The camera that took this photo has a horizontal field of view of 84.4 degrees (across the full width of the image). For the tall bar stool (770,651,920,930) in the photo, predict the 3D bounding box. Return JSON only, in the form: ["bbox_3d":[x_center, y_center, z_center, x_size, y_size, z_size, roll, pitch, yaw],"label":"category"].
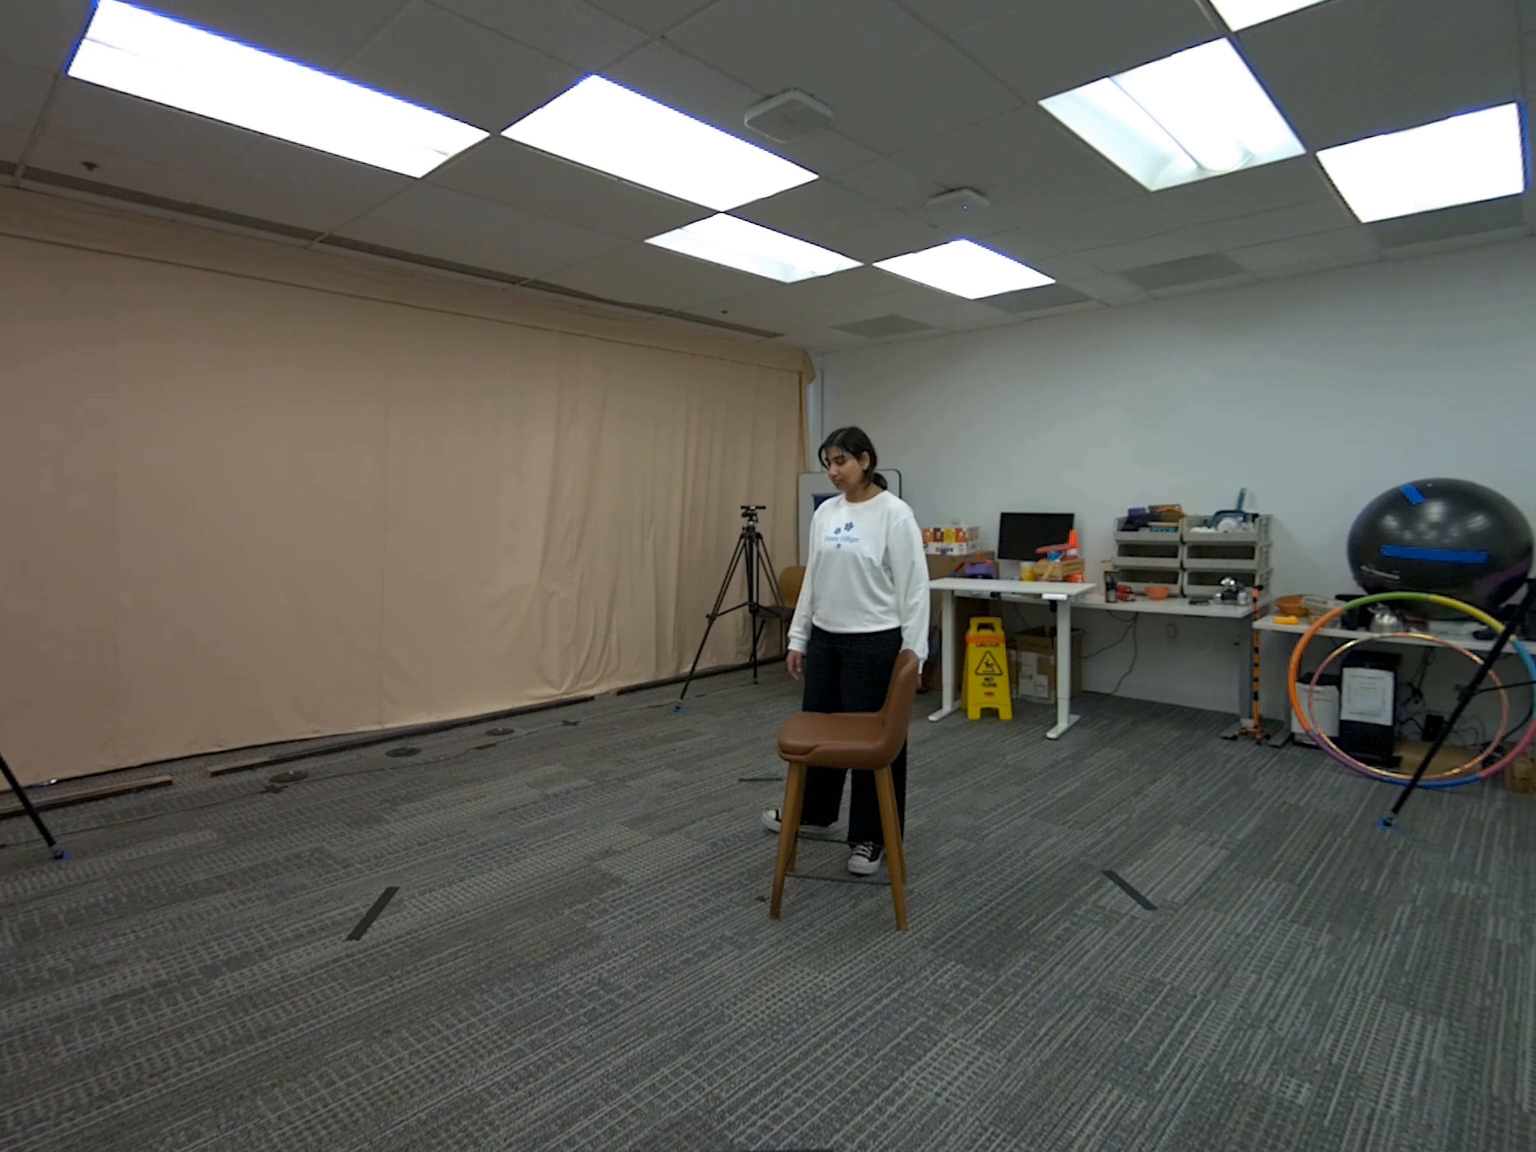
[{"bbox_3d":[0.272,0.709,2.961,0.474,0.888,0.451,2,3,12],"label":"tall bar stool"}]
